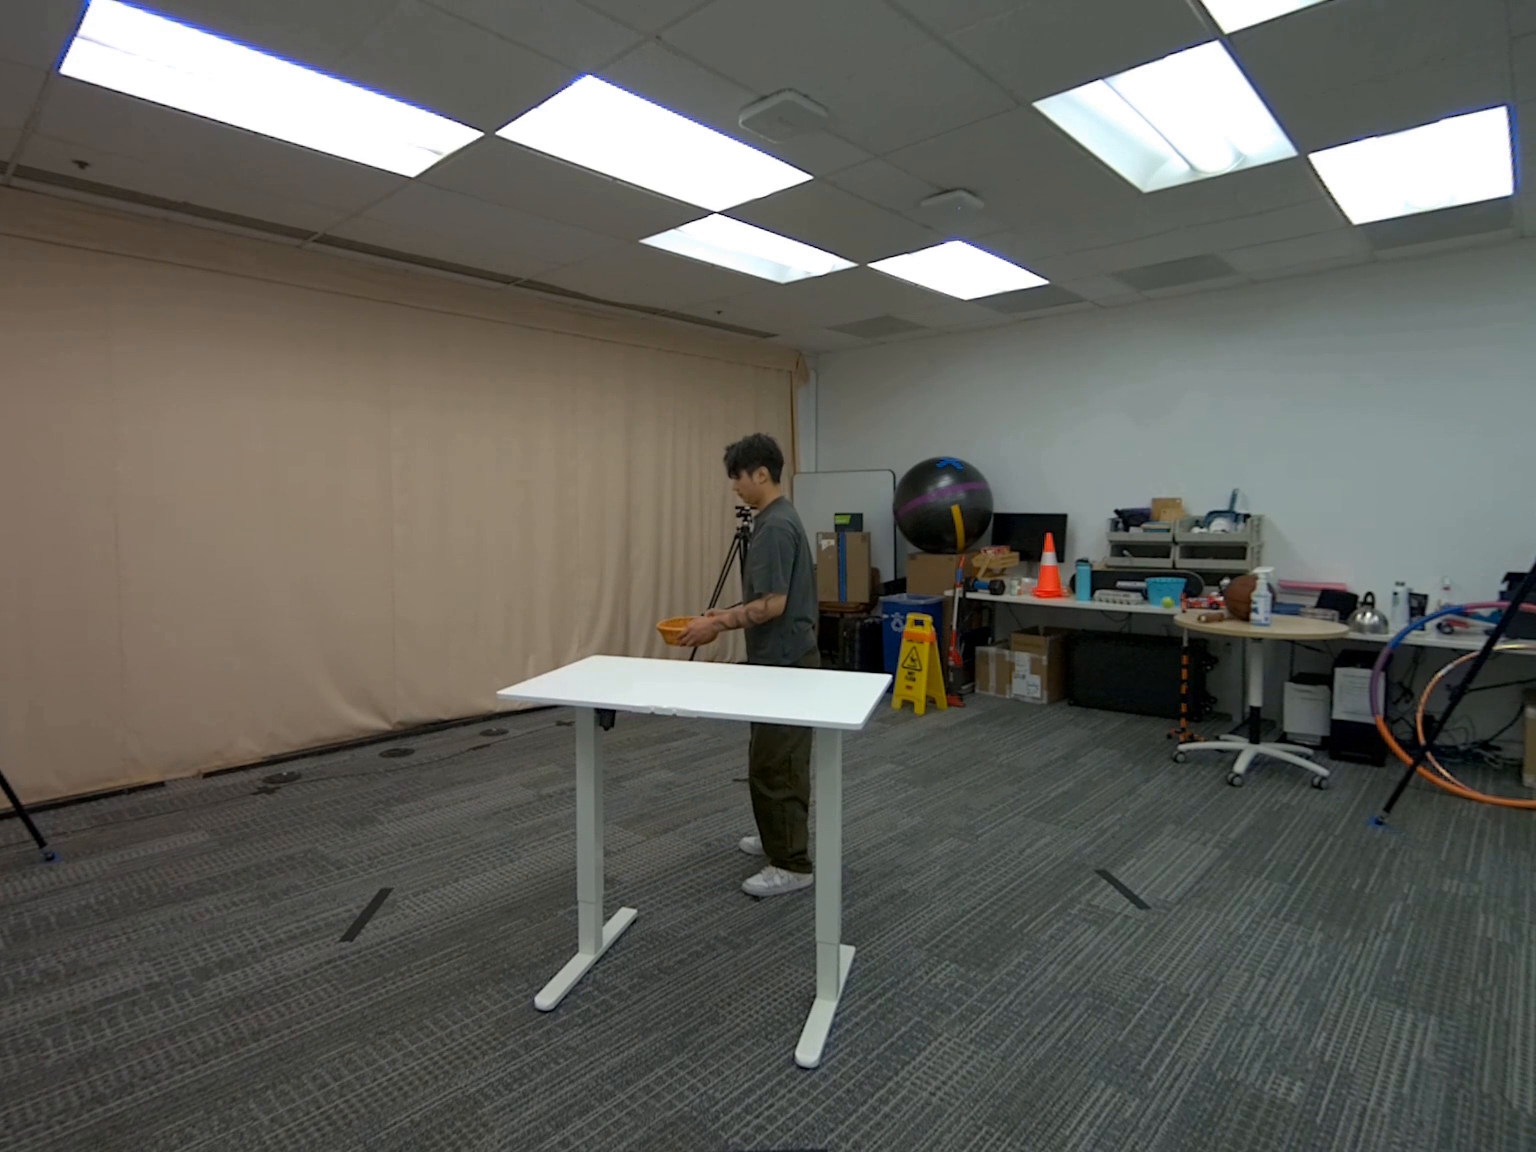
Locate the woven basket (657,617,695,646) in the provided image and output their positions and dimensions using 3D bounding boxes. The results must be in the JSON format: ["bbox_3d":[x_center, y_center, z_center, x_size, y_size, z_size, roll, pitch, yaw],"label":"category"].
[{"bbox_3d":[-0.290,0.222,3.247,0.255,0.073,0.348,0,5,7],"label":"woven basket"}]
